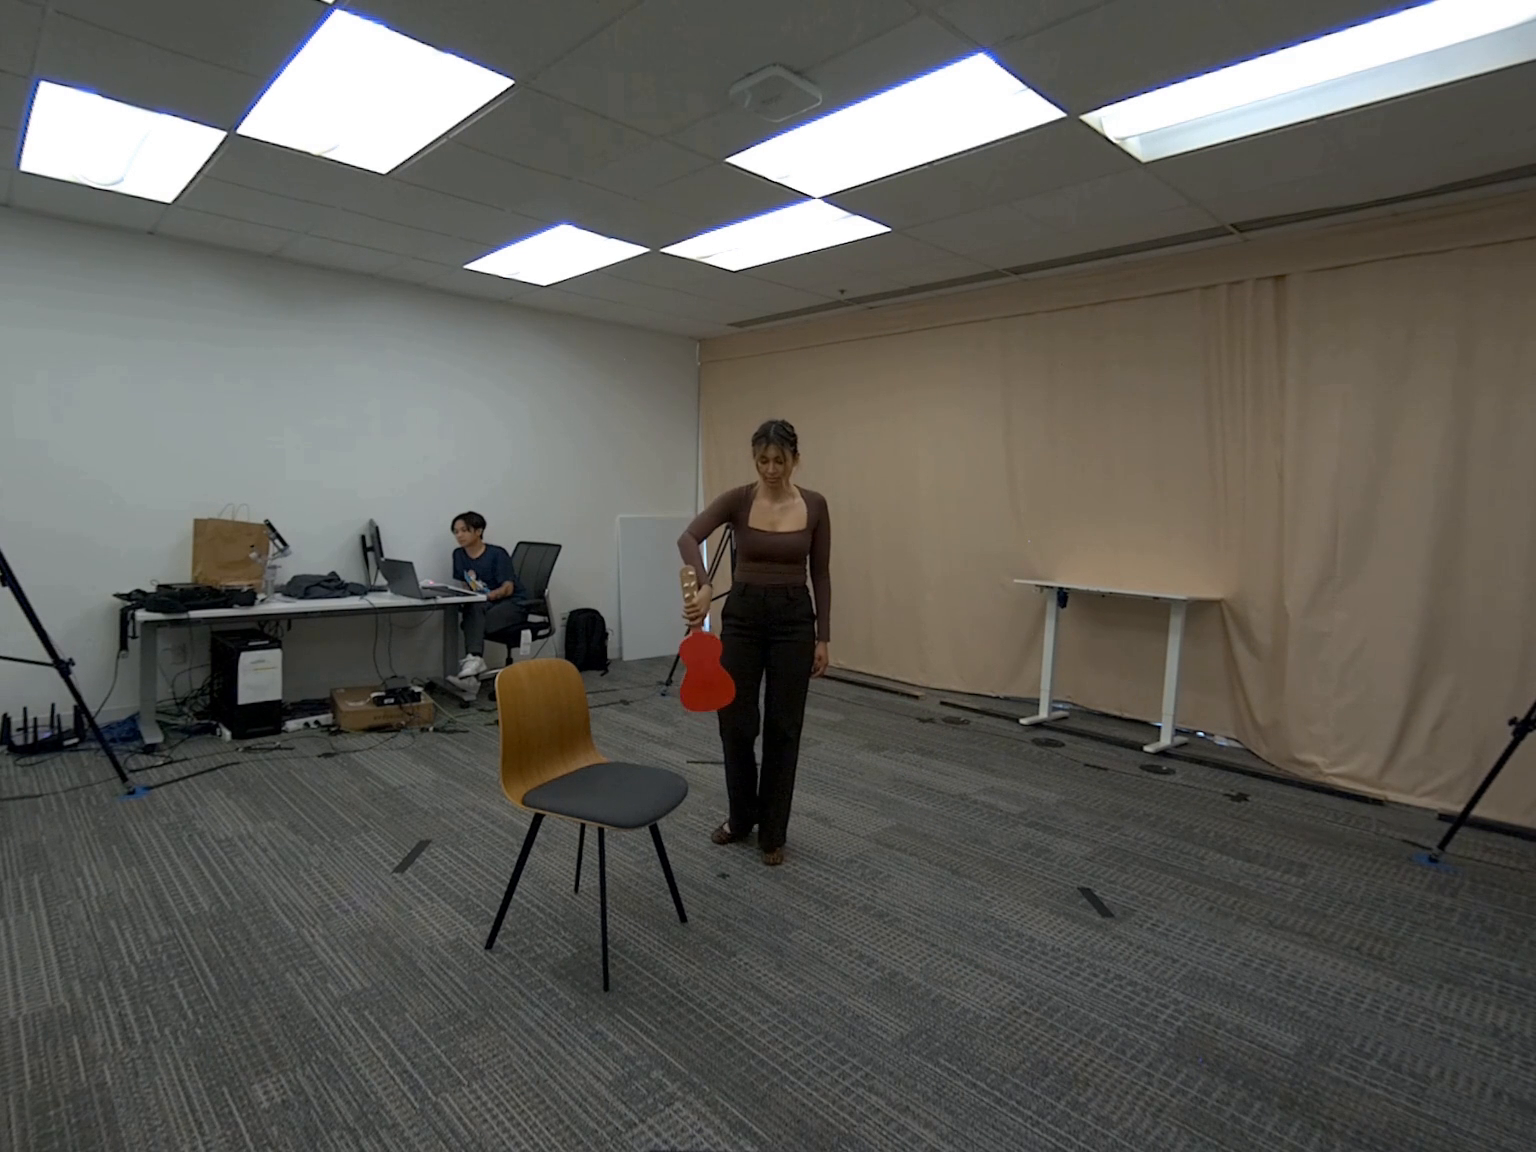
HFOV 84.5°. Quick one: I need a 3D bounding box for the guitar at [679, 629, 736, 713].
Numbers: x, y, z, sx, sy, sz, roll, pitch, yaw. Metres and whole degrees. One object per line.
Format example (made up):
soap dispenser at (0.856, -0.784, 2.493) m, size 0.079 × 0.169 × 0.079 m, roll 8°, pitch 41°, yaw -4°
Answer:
guitar at (-0.279, 0.224, 2.914) m, size 0.192 × 0.496 × 0.071 m, roll -18°, pitch 4°, yaw -6°
